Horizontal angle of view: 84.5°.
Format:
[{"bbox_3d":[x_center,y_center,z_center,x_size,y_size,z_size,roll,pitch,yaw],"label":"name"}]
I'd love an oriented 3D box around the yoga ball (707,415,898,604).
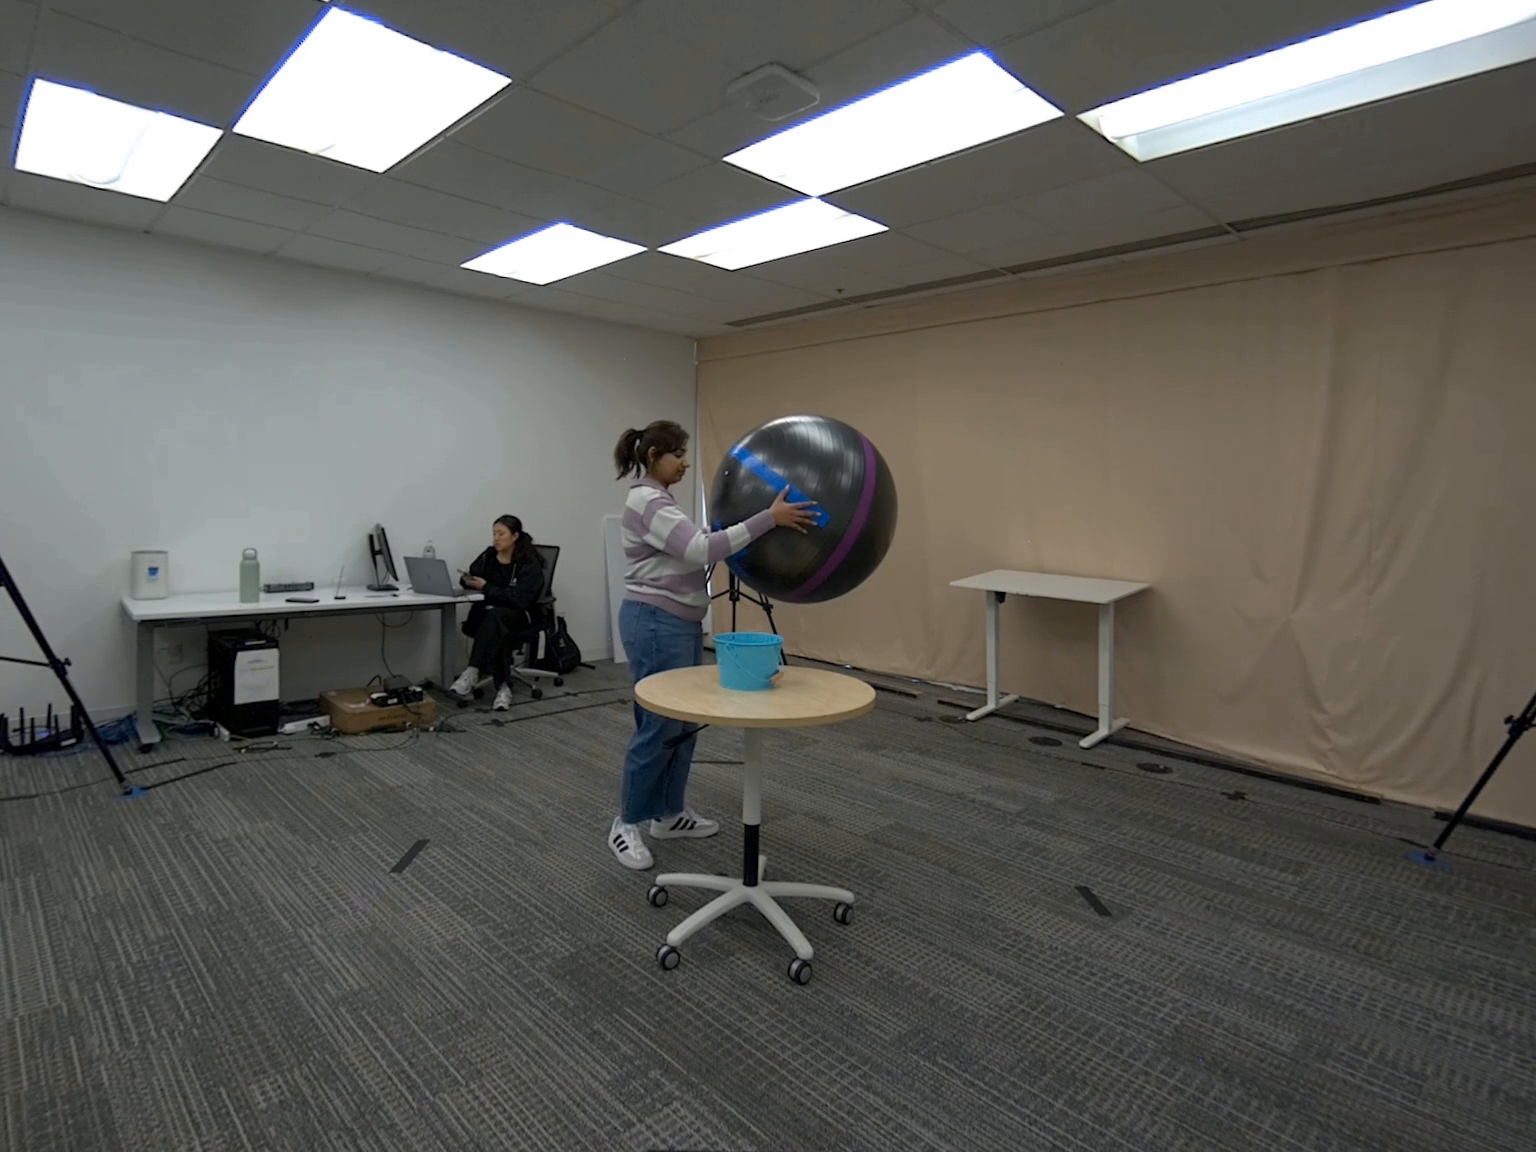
[{"bbox_3d":[0.136,-0.264,3.392,0.757,0.756,0.761,1,4,-1],"label":"yoga ball"}]
